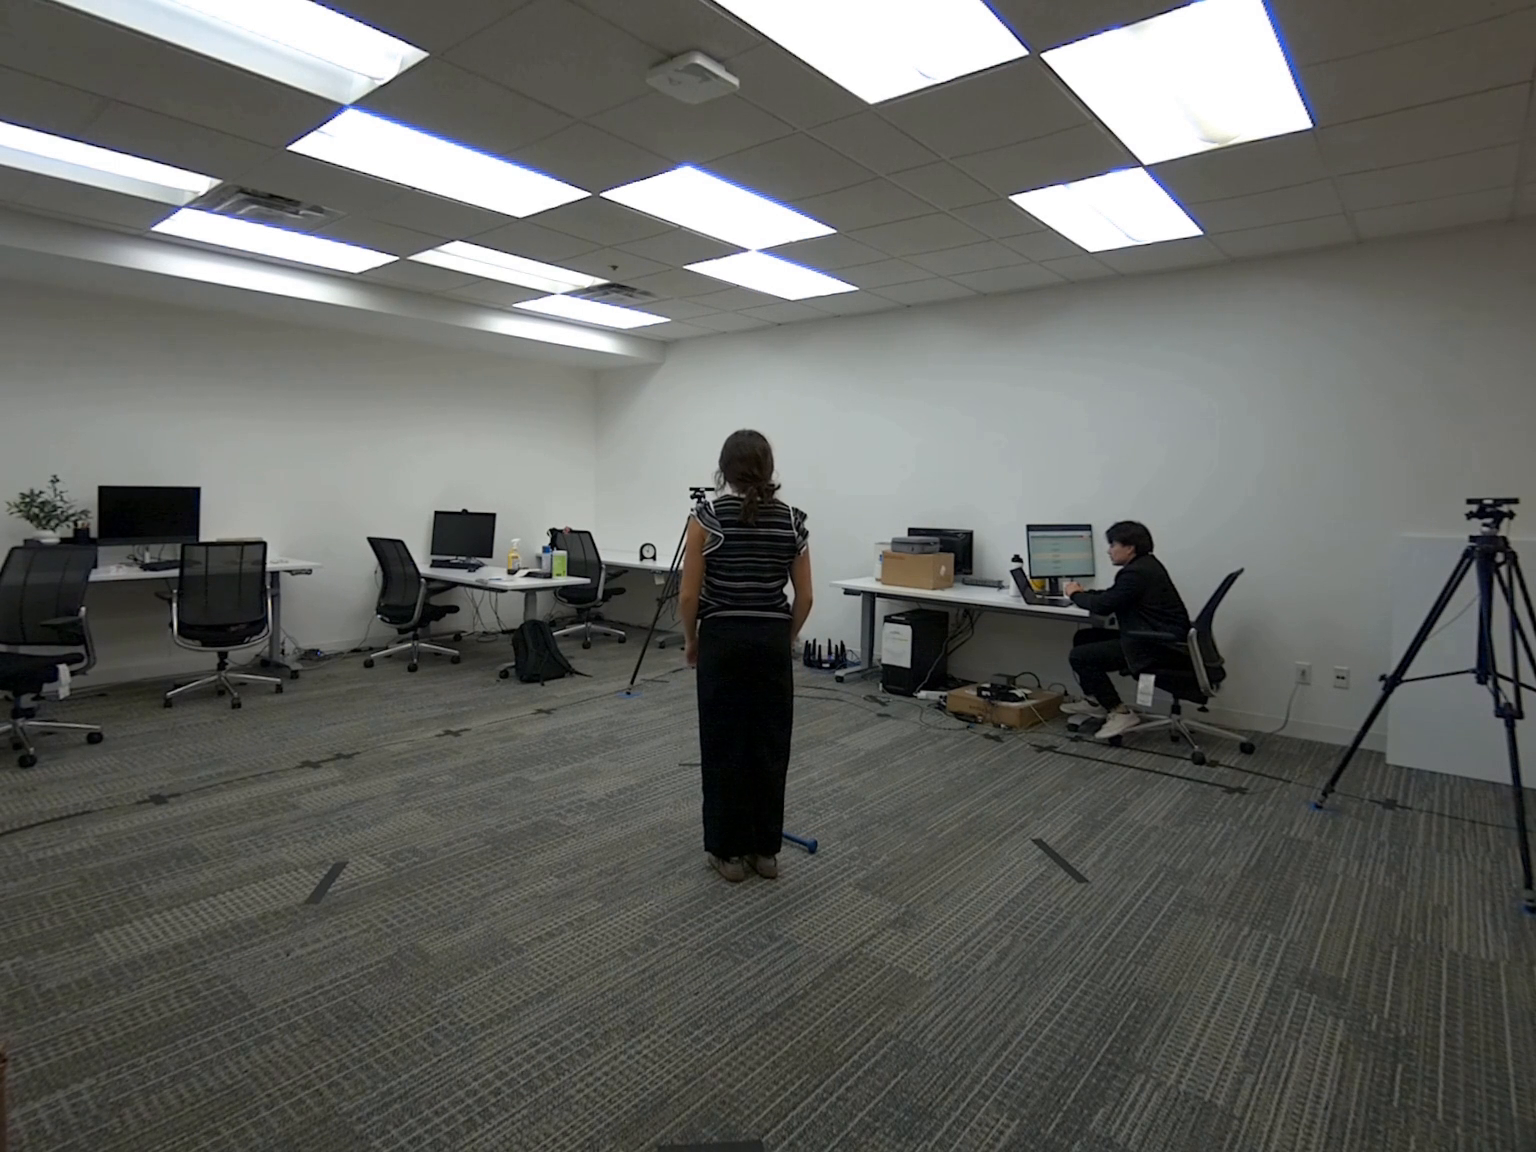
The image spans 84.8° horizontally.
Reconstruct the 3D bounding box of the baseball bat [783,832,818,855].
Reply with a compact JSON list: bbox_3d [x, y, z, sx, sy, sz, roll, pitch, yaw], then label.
[{"bbox_3d":[-0.033,1.001,3.439,0.563,0.088,0.086,10,9,40],"label":"baseball bat"}]
